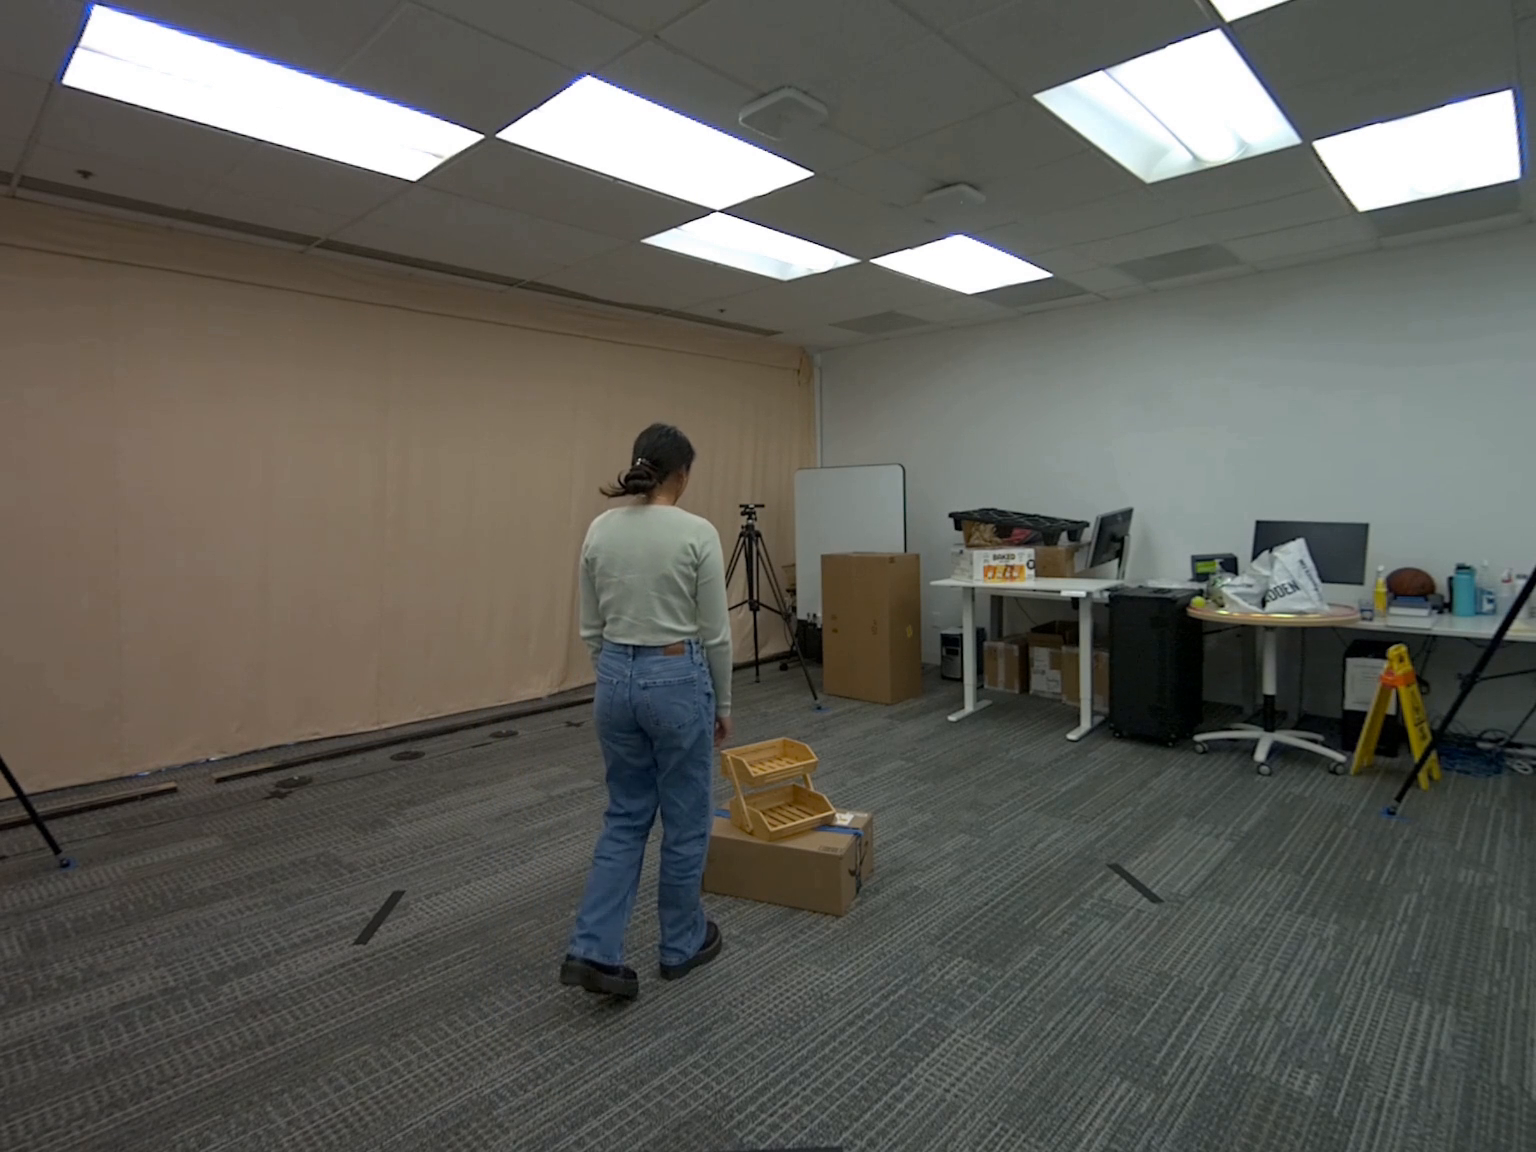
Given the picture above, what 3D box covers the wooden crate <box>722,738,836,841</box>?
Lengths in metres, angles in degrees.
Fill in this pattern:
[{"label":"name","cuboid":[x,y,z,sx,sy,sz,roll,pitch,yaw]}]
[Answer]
[{"label":"wooden crate","cuboid":[0.040,0.781,3.118,0.315,0.273,0.311,-4,4,-35]}]
